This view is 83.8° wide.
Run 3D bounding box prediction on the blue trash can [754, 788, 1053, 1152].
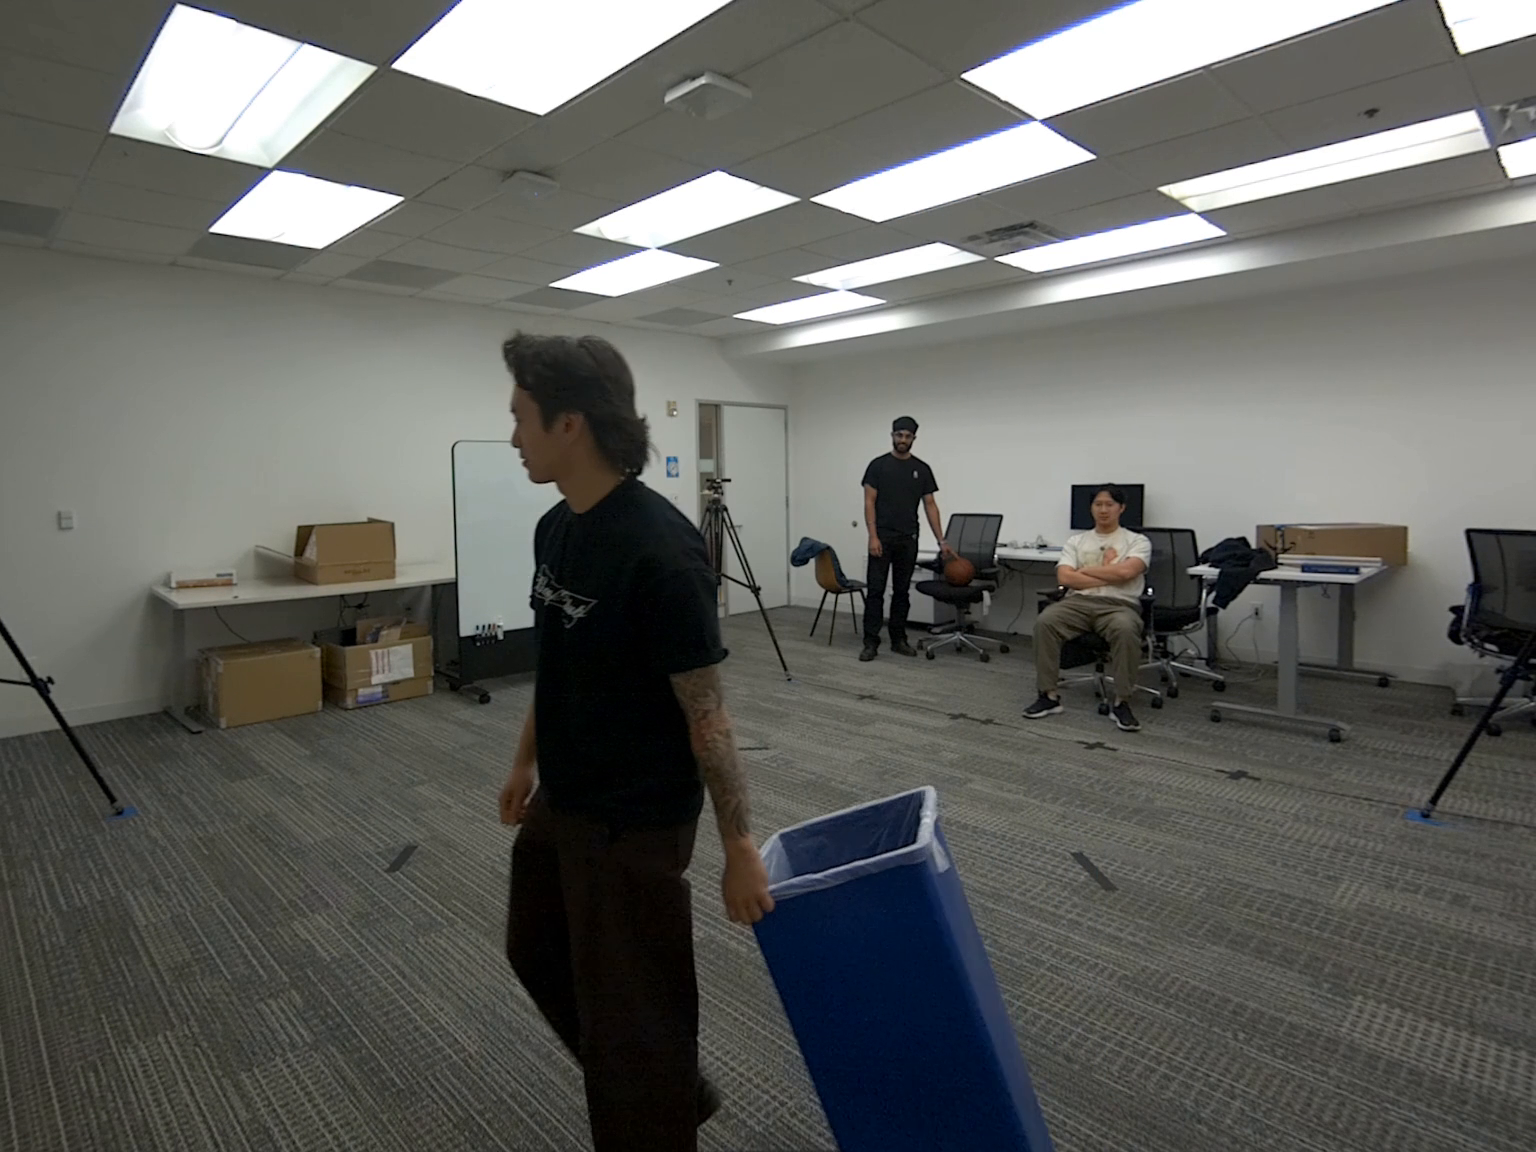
[{"bbox_3d":[0.262,0.832,1.568,0.377,0.719,0.372,-21,-6,13],"label":"blue trash can"}]
